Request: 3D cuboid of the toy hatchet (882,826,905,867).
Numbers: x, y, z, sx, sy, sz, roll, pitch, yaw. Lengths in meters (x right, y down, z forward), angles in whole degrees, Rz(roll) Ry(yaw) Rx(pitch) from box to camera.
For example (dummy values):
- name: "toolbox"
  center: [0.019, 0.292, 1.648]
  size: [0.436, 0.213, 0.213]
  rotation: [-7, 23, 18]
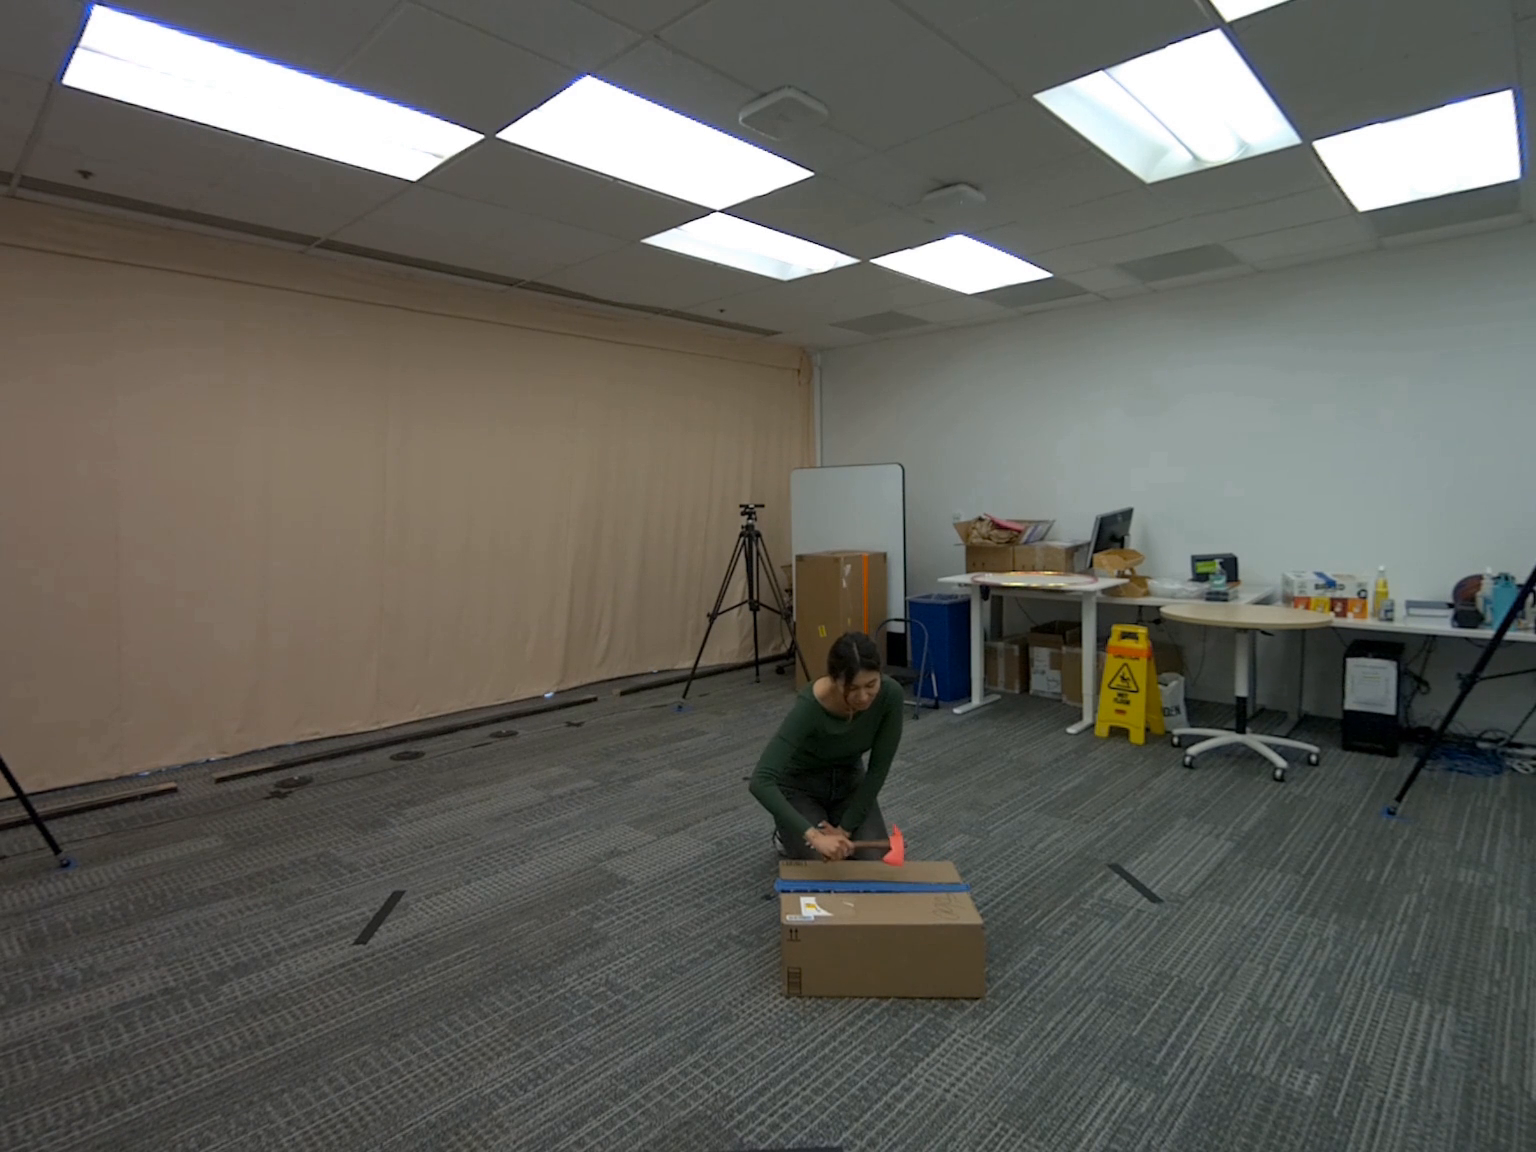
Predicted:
- name: "toy hatchet"
  center: [0.299, 0.865, 2.589]
  size: [0.267, 0.029, 0.135]
  rotation: [-19, 48, -11]
